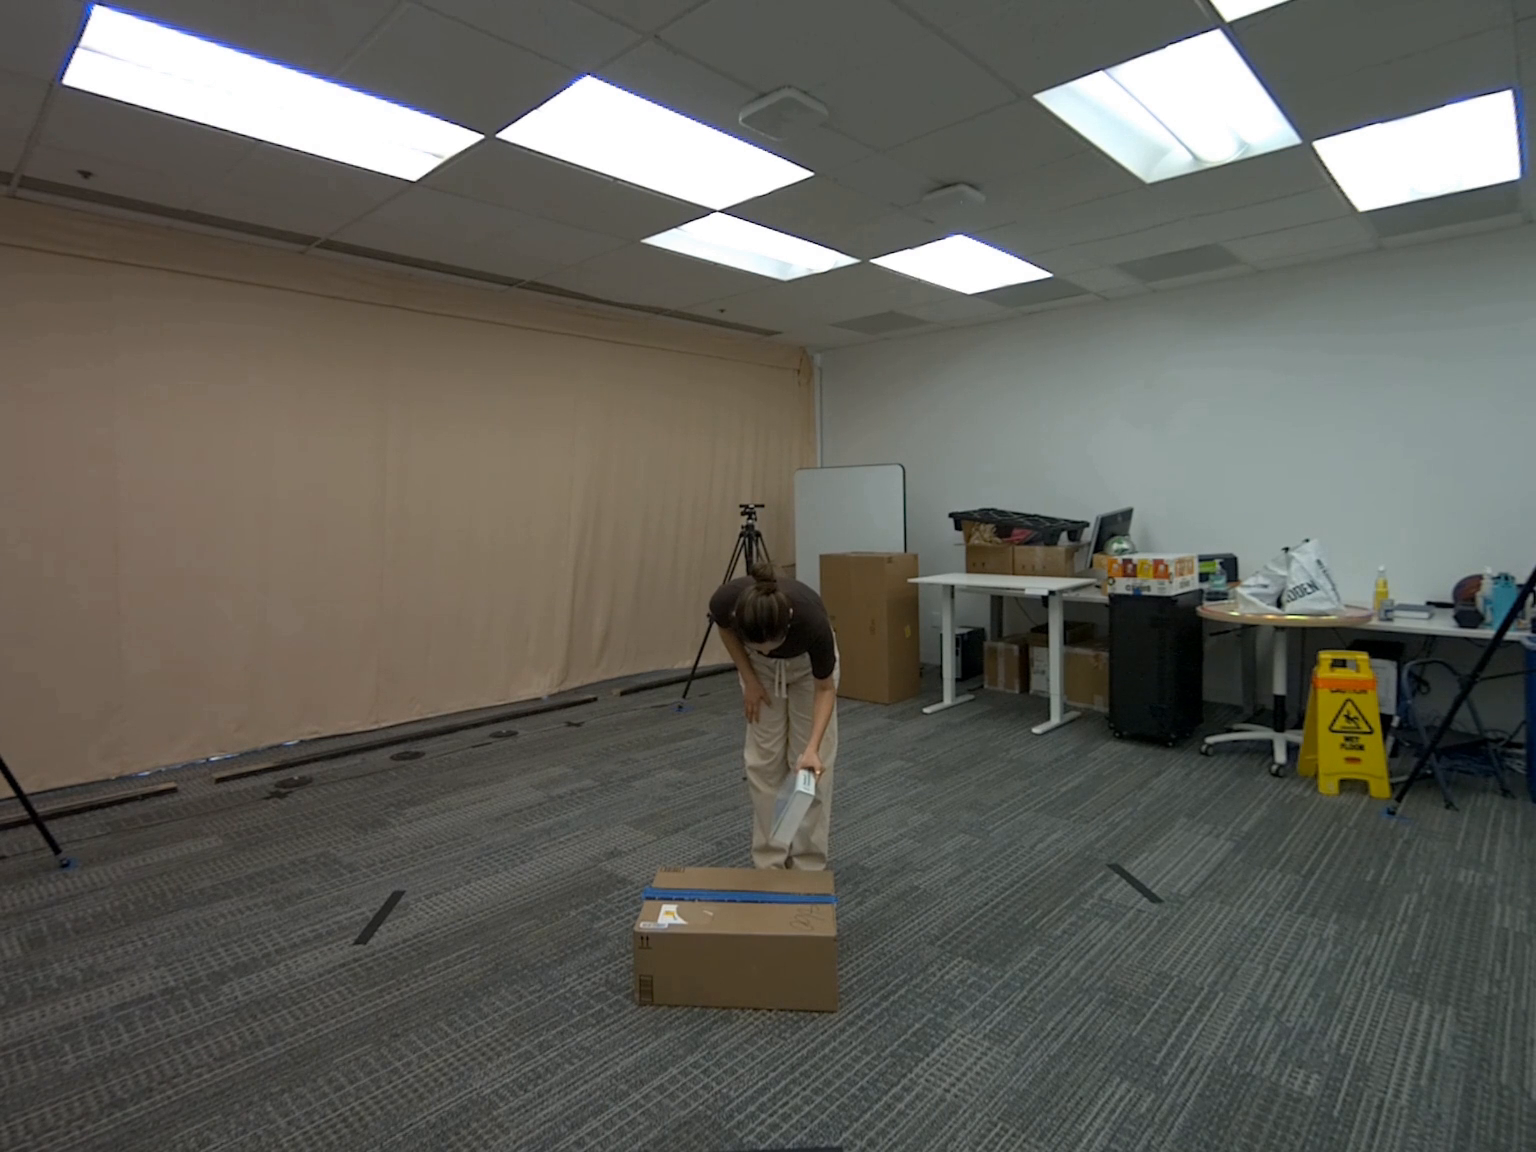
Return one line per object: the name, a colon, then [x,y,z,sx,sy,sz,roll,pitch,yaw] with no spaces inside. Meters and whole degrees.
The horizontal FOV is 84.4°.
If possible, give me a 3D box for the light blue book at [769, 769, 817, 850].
light blue book: [0.082,0.698,2.659,0.059,0.191,0.261,20,13,1]
